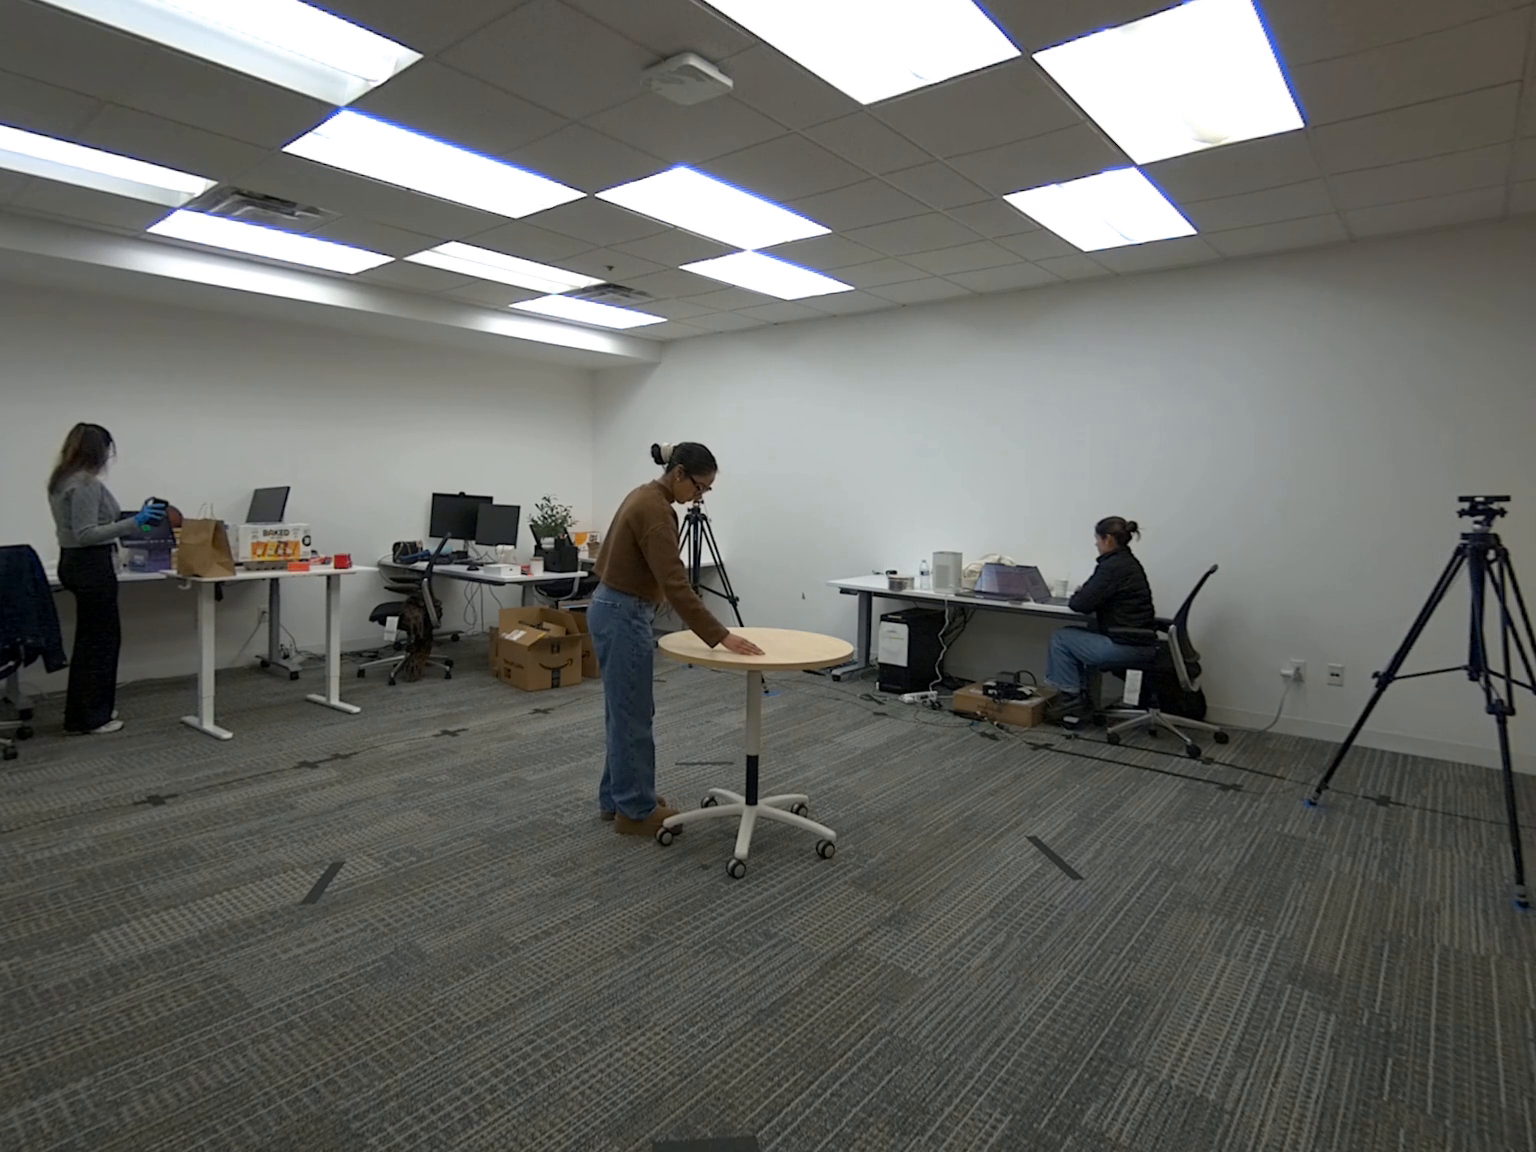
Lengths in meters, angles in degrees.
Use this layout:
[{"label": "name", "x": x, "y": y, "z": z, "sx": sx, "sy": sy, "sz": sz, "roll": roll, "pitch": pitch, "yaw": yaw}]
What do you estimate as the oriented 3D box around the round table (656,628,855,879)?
[{"label": "round table", "x": -0.066, "y": 0.656, "z": 3.365, "sx": 0.763, "sy": 0.792, "sz": 0.767, "roll": 1, "pitch": 4, "yaw": -2}]
